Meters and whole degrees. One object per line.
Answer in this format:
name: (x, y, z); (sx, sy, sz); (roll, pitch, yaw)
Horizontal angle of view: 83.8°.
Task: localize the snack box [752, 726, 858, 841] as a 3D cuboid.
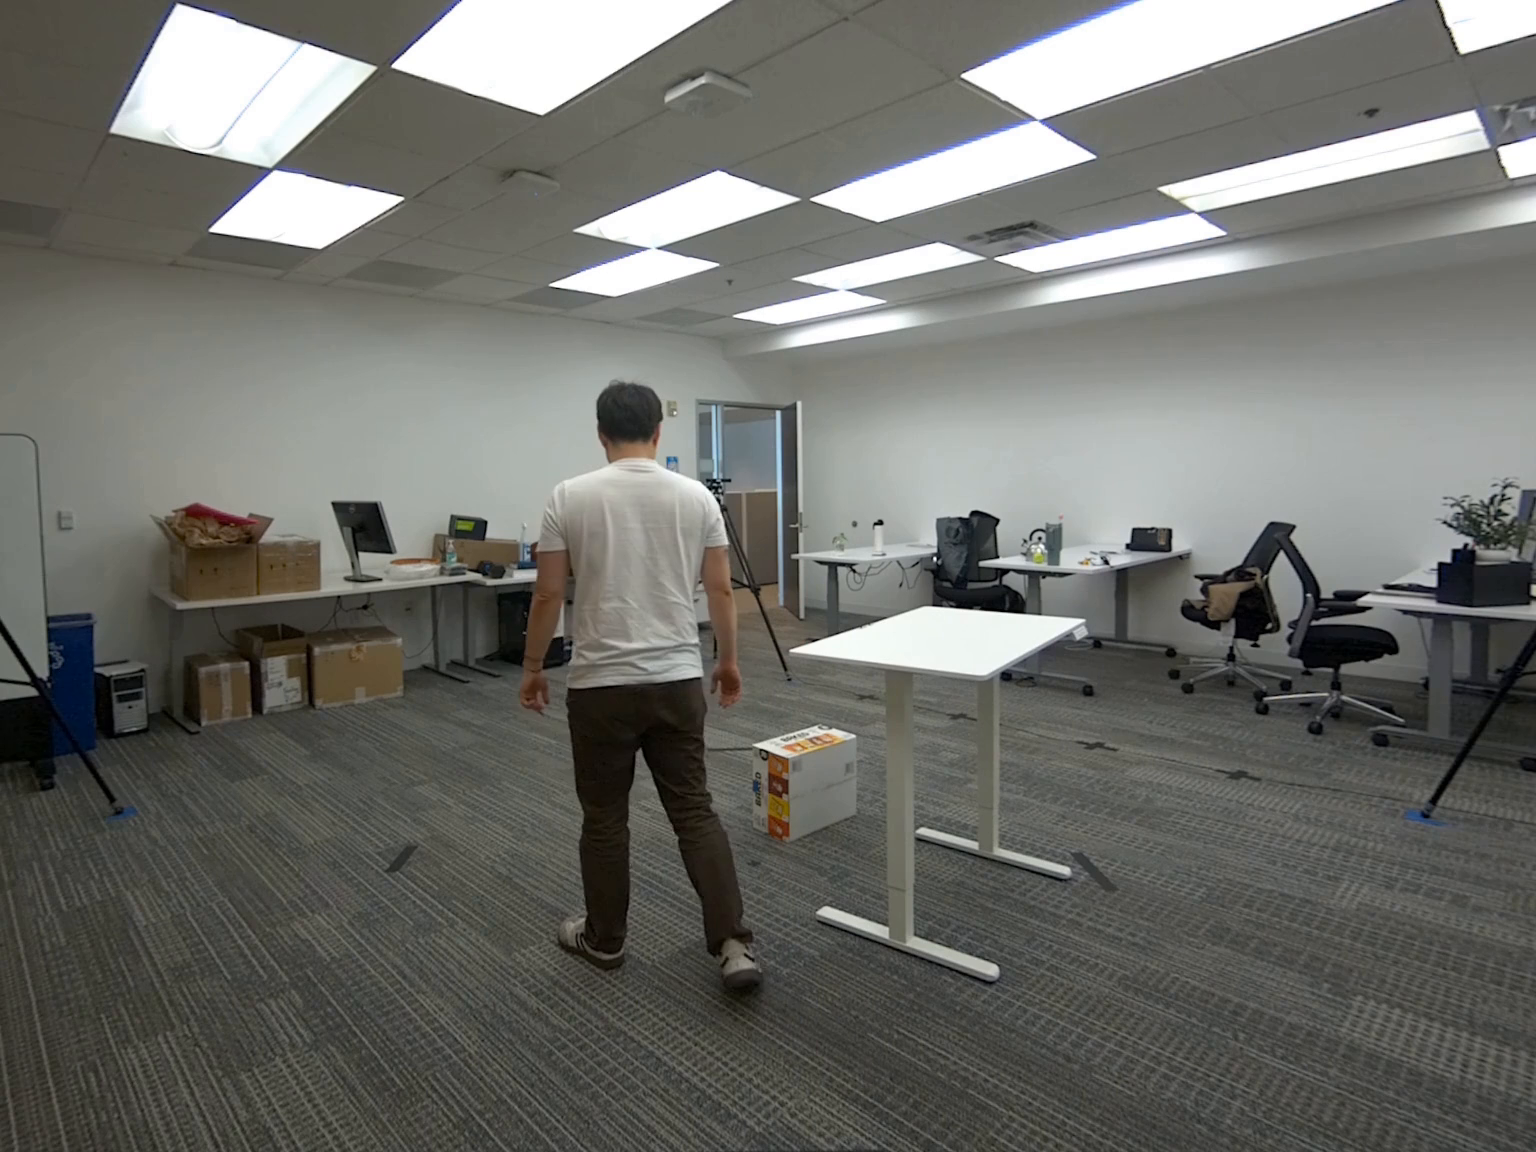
snack box: (0.154, 0.832, 3.467); (0.394, 0.339, 0.212); (-6, 8, -42)
